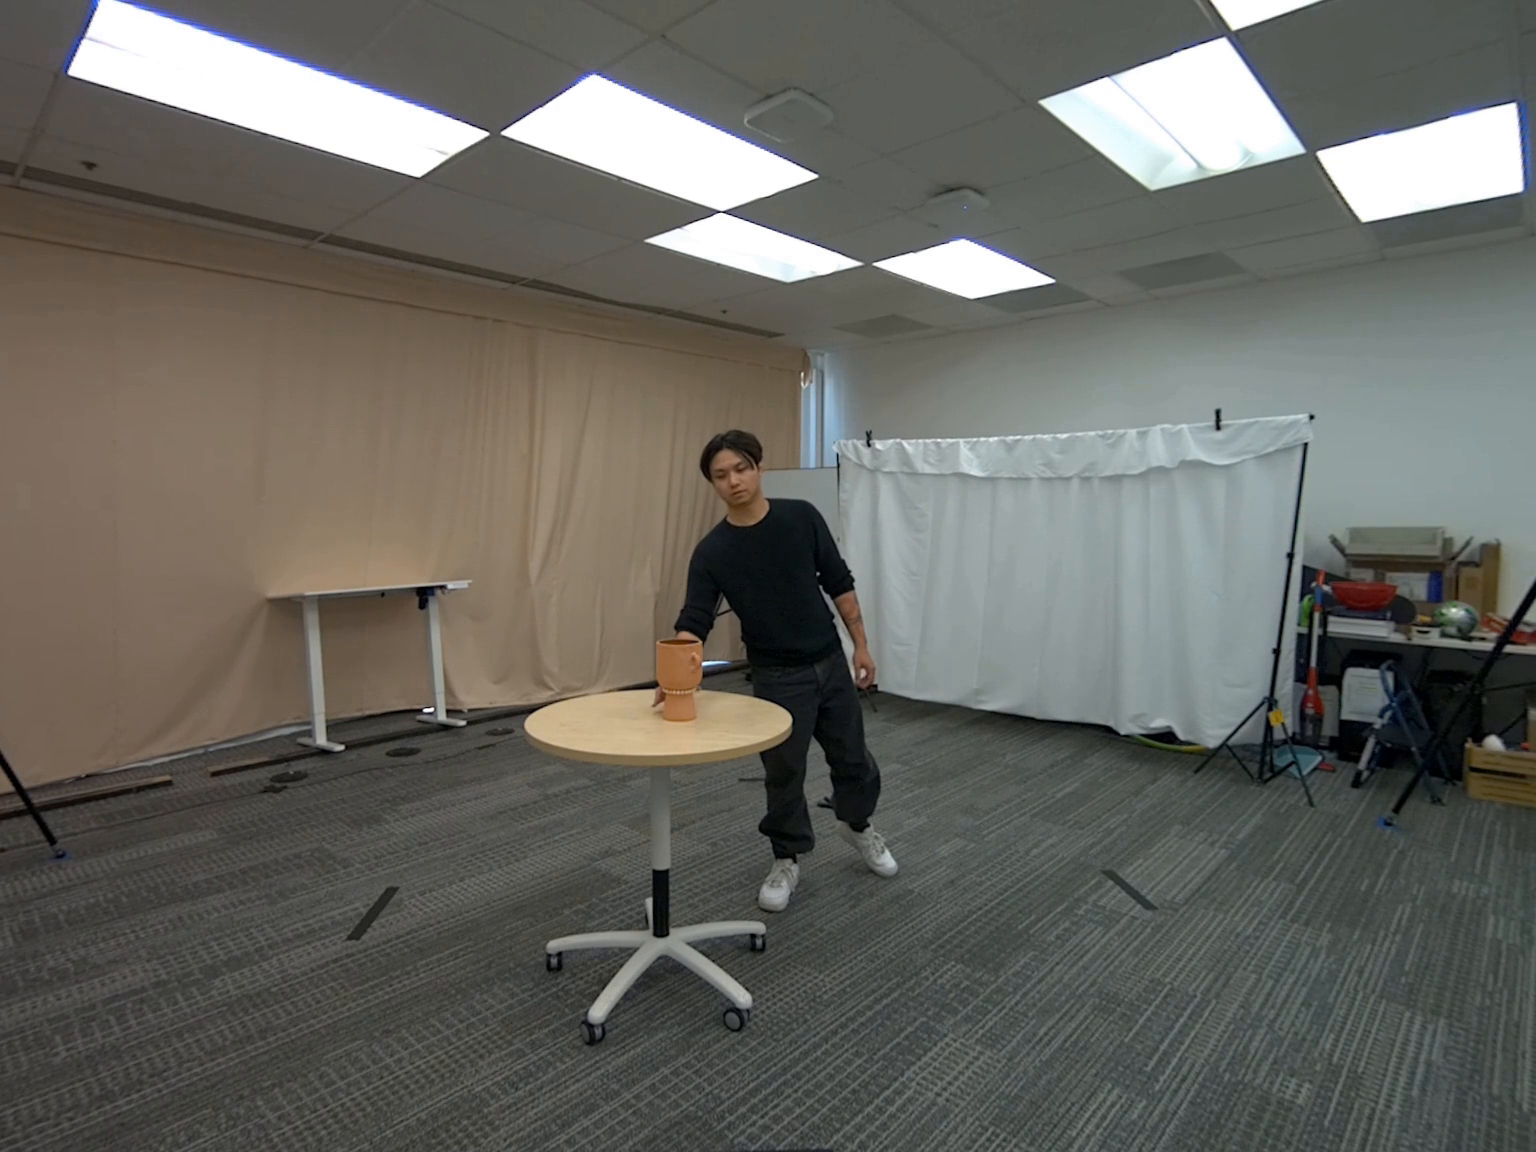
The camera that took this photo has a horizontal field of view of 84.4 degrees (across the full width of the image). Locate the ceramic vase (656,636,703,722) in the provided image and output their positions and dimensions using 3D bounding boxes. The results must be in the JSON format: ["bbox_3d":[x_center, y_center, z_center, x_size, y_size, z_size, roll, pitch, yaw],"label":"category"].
[{"bbox_3d":[-0.256,0.298,2.428,0.135,0.219,0.159,0,3,-1],"label":"ceramic vase"}]
